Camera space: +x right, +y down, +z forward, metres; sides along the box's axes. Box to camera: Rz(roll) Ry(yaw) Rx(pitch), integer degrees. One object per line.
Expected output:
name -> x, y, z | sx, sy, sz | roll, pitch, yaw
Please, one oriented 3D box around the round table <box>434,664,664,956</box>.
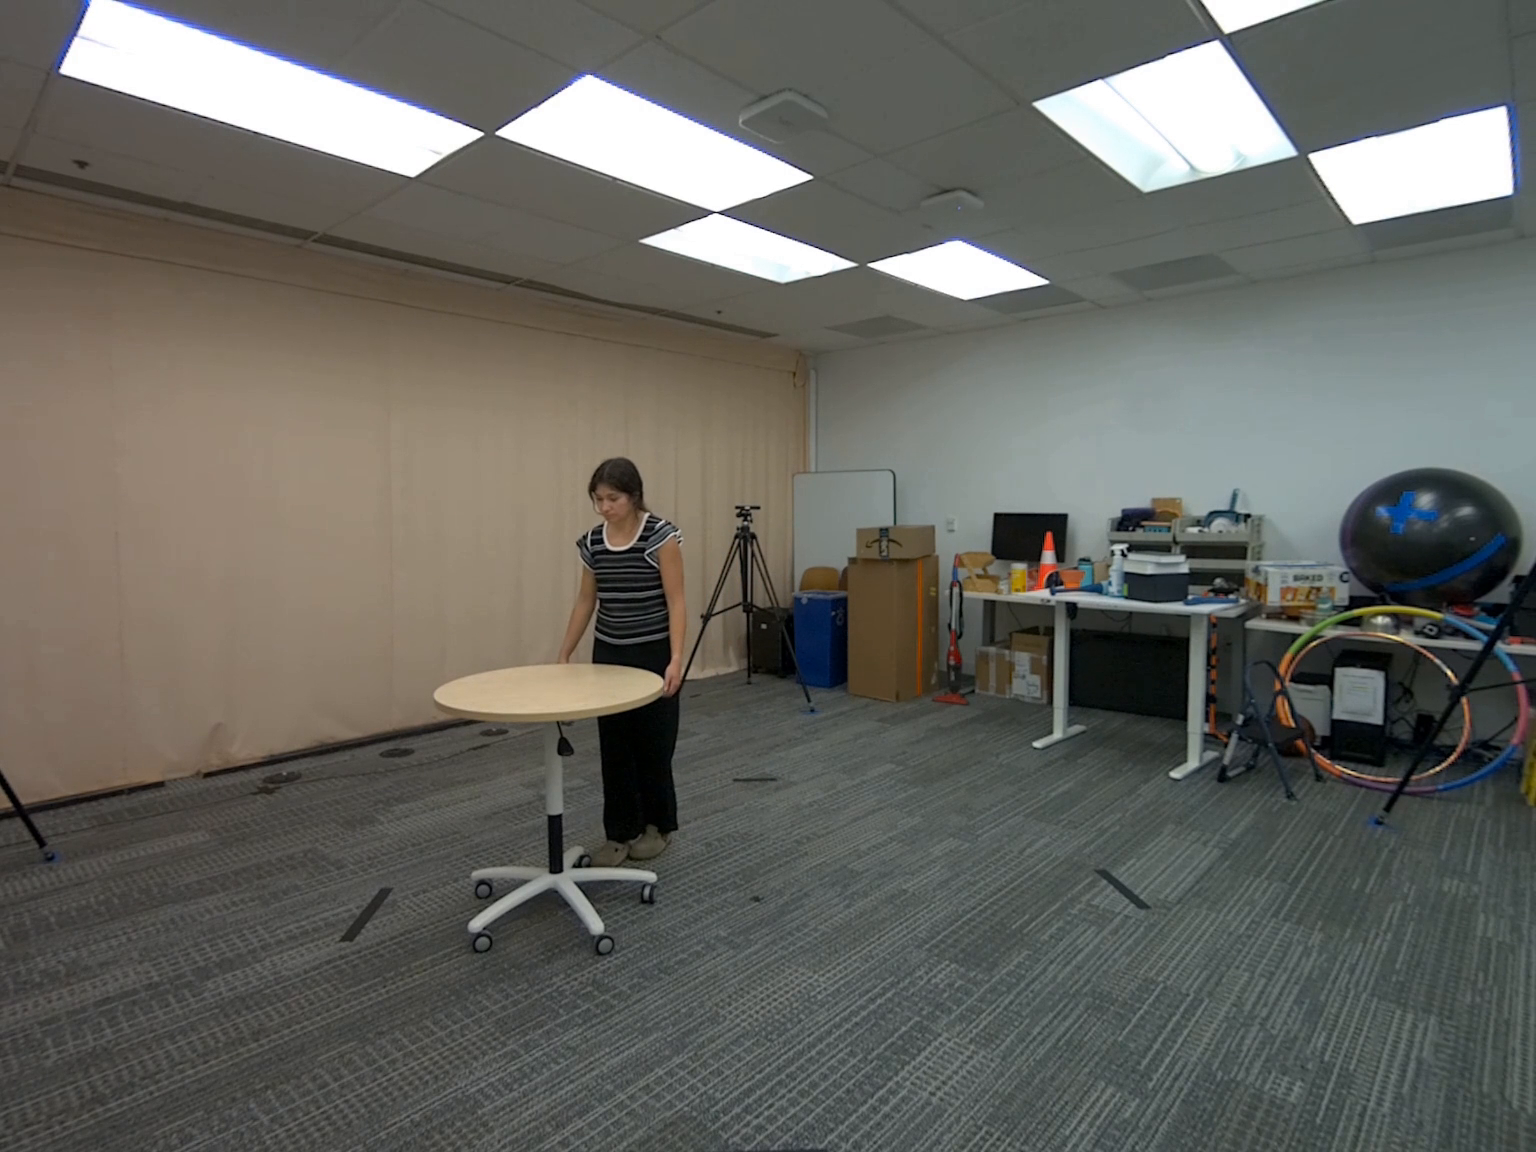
round table -> -0.732, 0.768, 2.875 | 0.763, 0.792, 0.766 | -1, 3, -2
